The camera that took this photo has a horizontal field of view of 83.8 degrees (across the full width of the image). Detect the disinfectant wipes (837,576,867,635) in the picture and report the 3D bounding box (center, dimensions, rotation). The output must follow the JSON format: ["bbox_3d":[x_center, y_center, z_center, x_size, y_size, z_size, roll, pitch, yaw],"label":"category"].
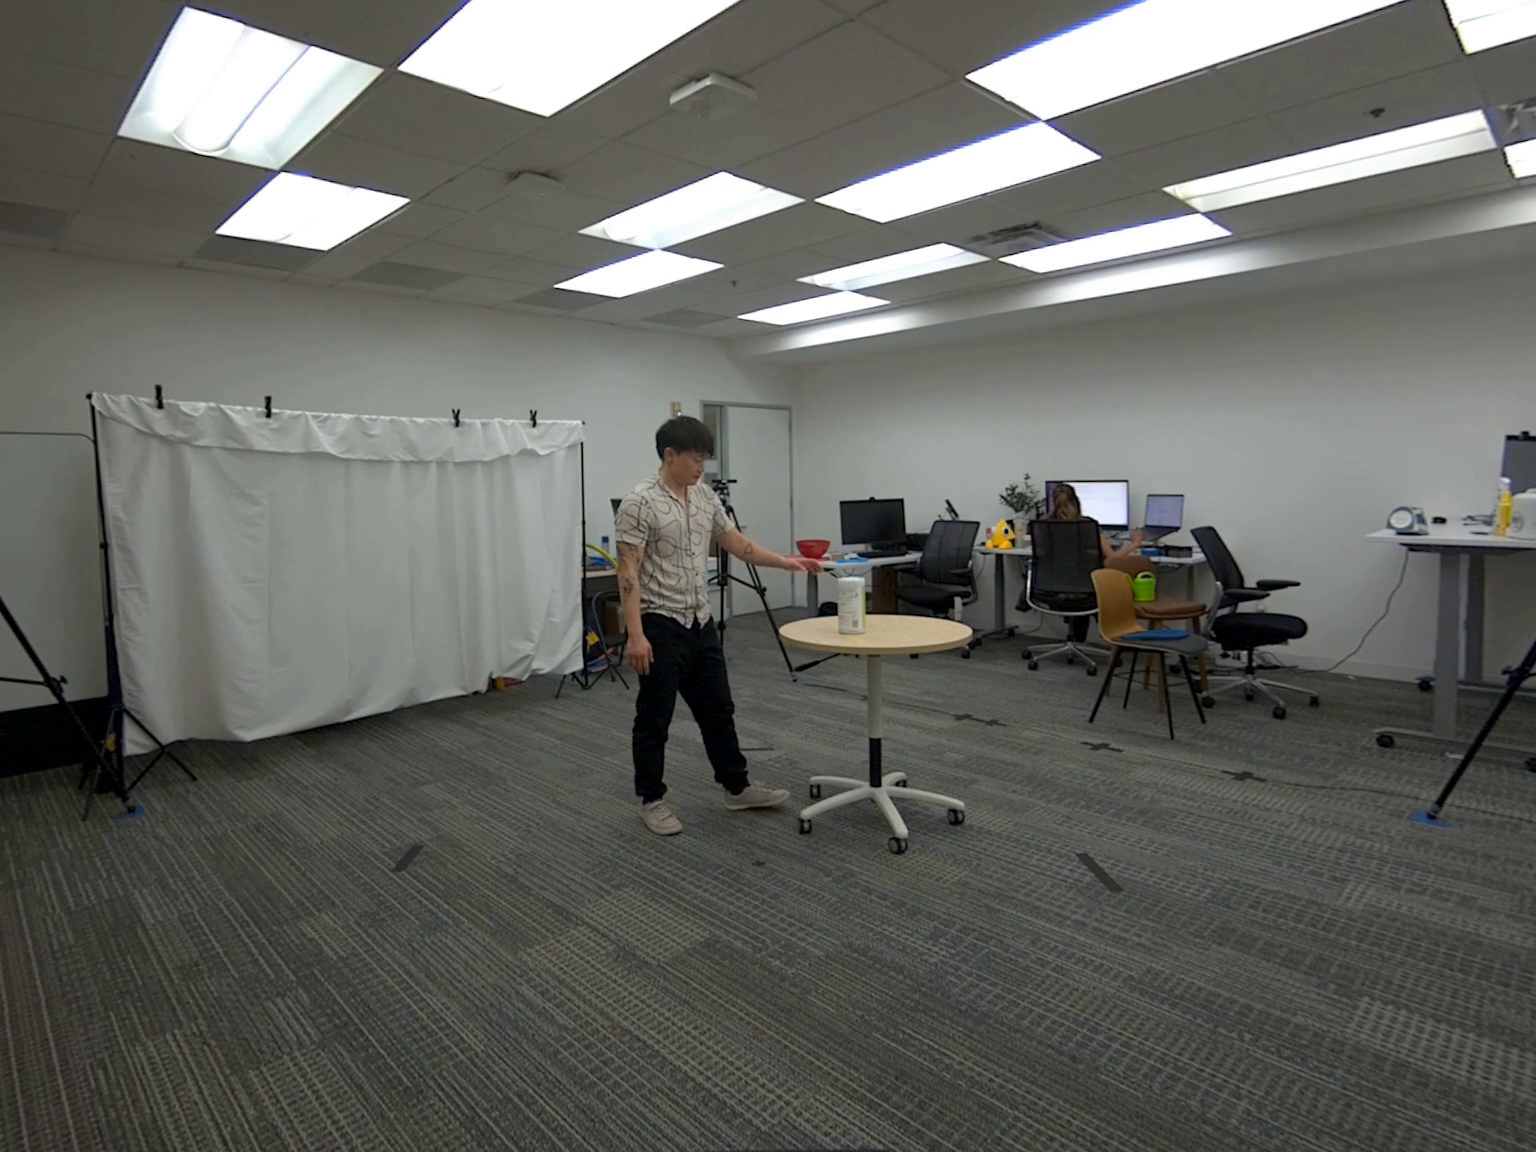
[{"bbox_3d":[0.331,0.119,3.388,0.118,0.217,0.118,0,4,-2],"label":"disinfectant wipes"}]
